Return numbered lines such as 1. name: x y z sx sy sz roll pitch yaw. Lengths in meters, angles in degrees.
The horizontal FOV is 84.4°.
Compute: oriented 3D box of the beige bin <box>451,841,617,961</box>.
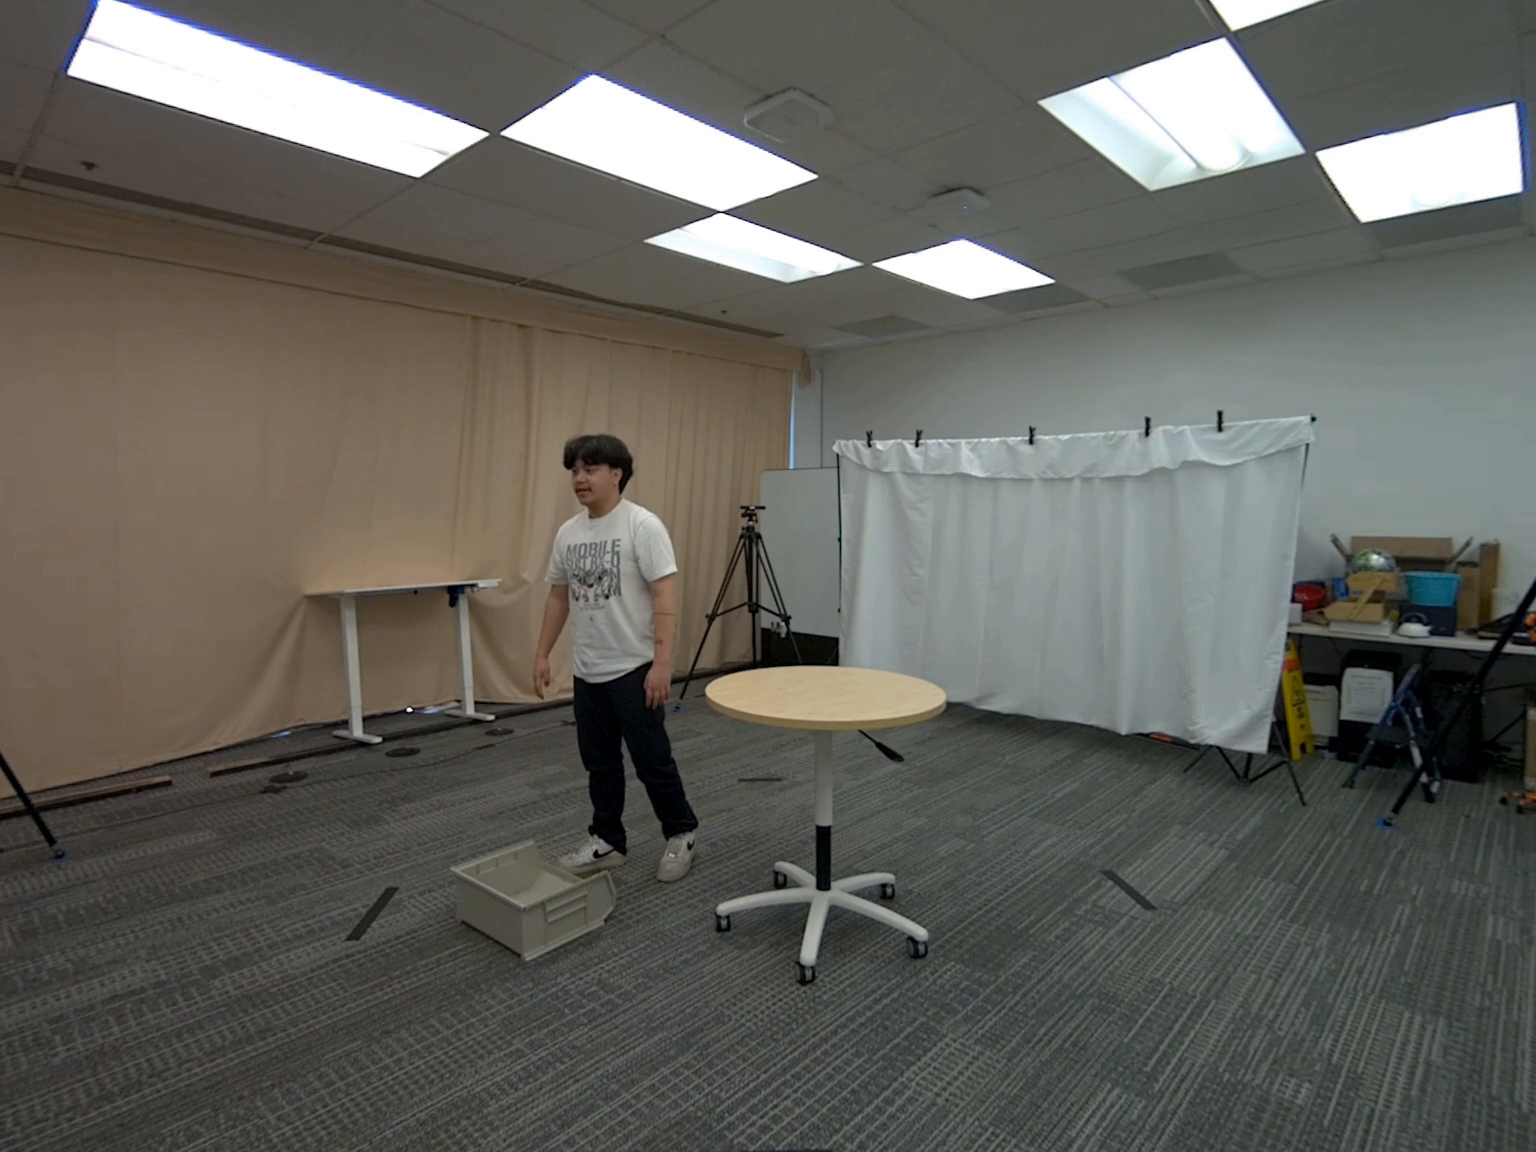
1. beige bin: -0.798 1.078 2.840 0.436 0.188 0.366 4 7 39
